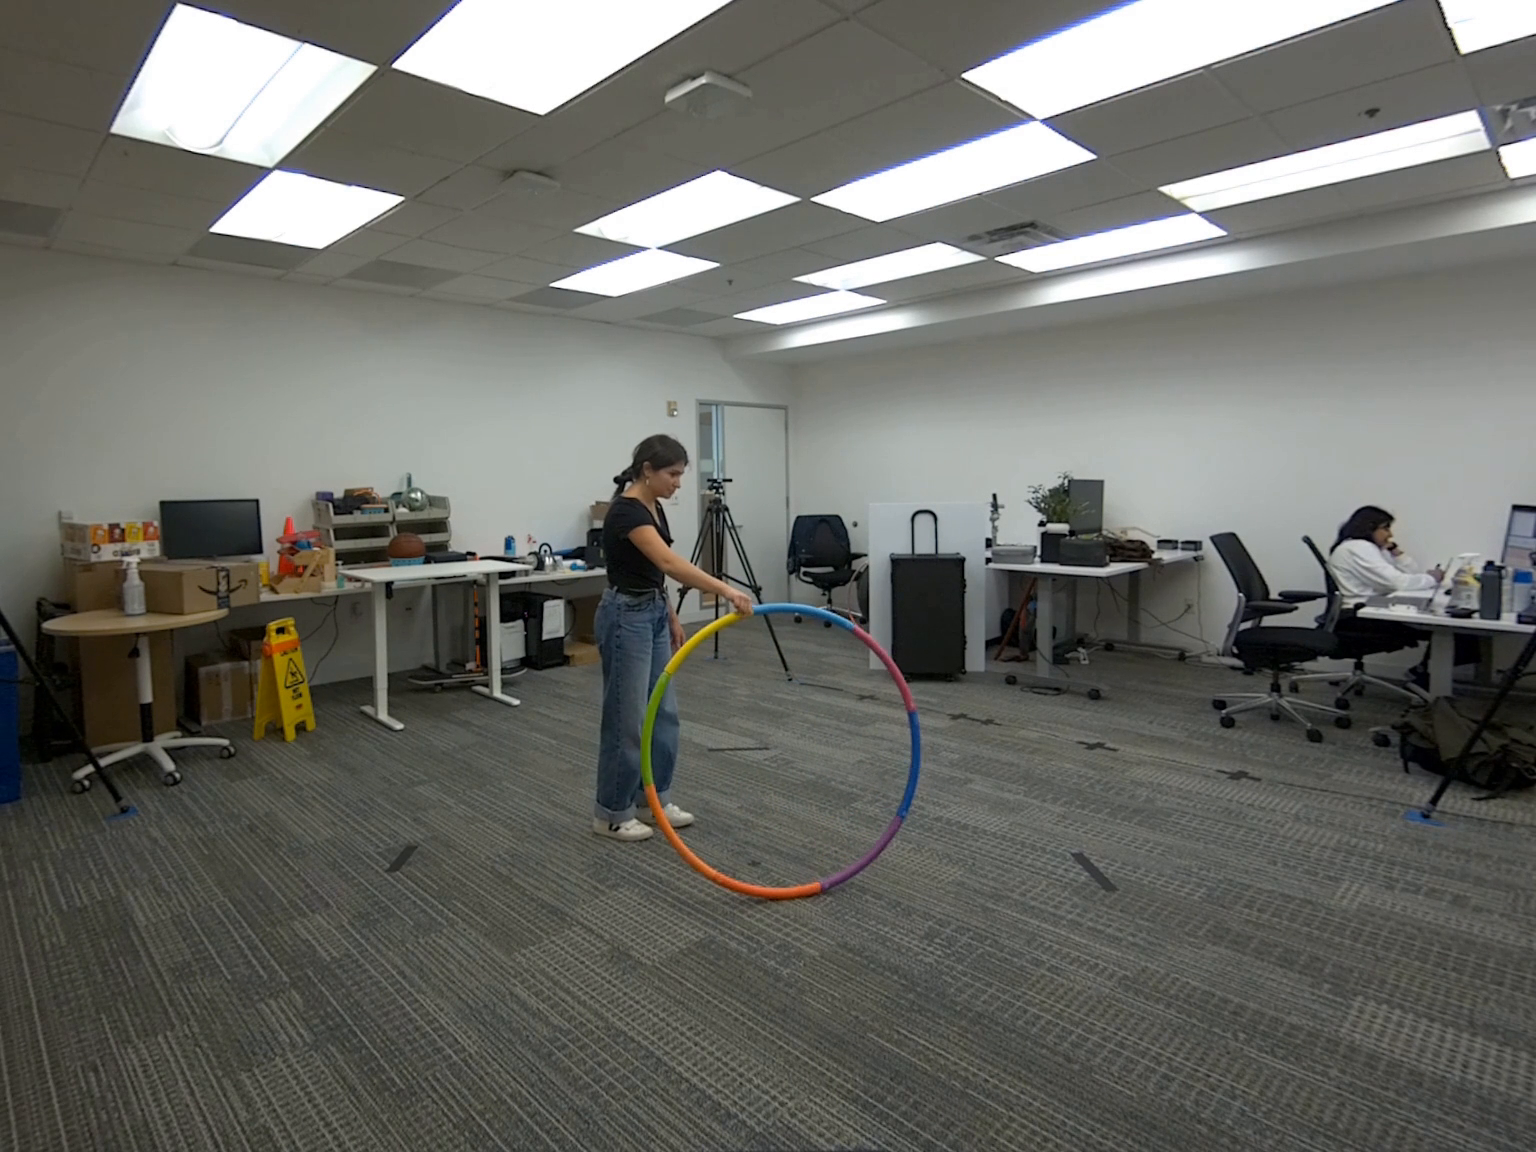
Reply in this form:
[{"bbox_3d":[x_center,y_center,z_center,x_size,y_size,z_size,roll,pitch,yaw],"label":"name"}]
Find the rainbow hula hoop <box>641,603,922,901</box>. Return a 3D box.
[{"bbox_3d":[0.059,0.586,2.926,0.969,0.988,0.035,-2,-10,-11],"label":"rainbow hula hoop"}]
